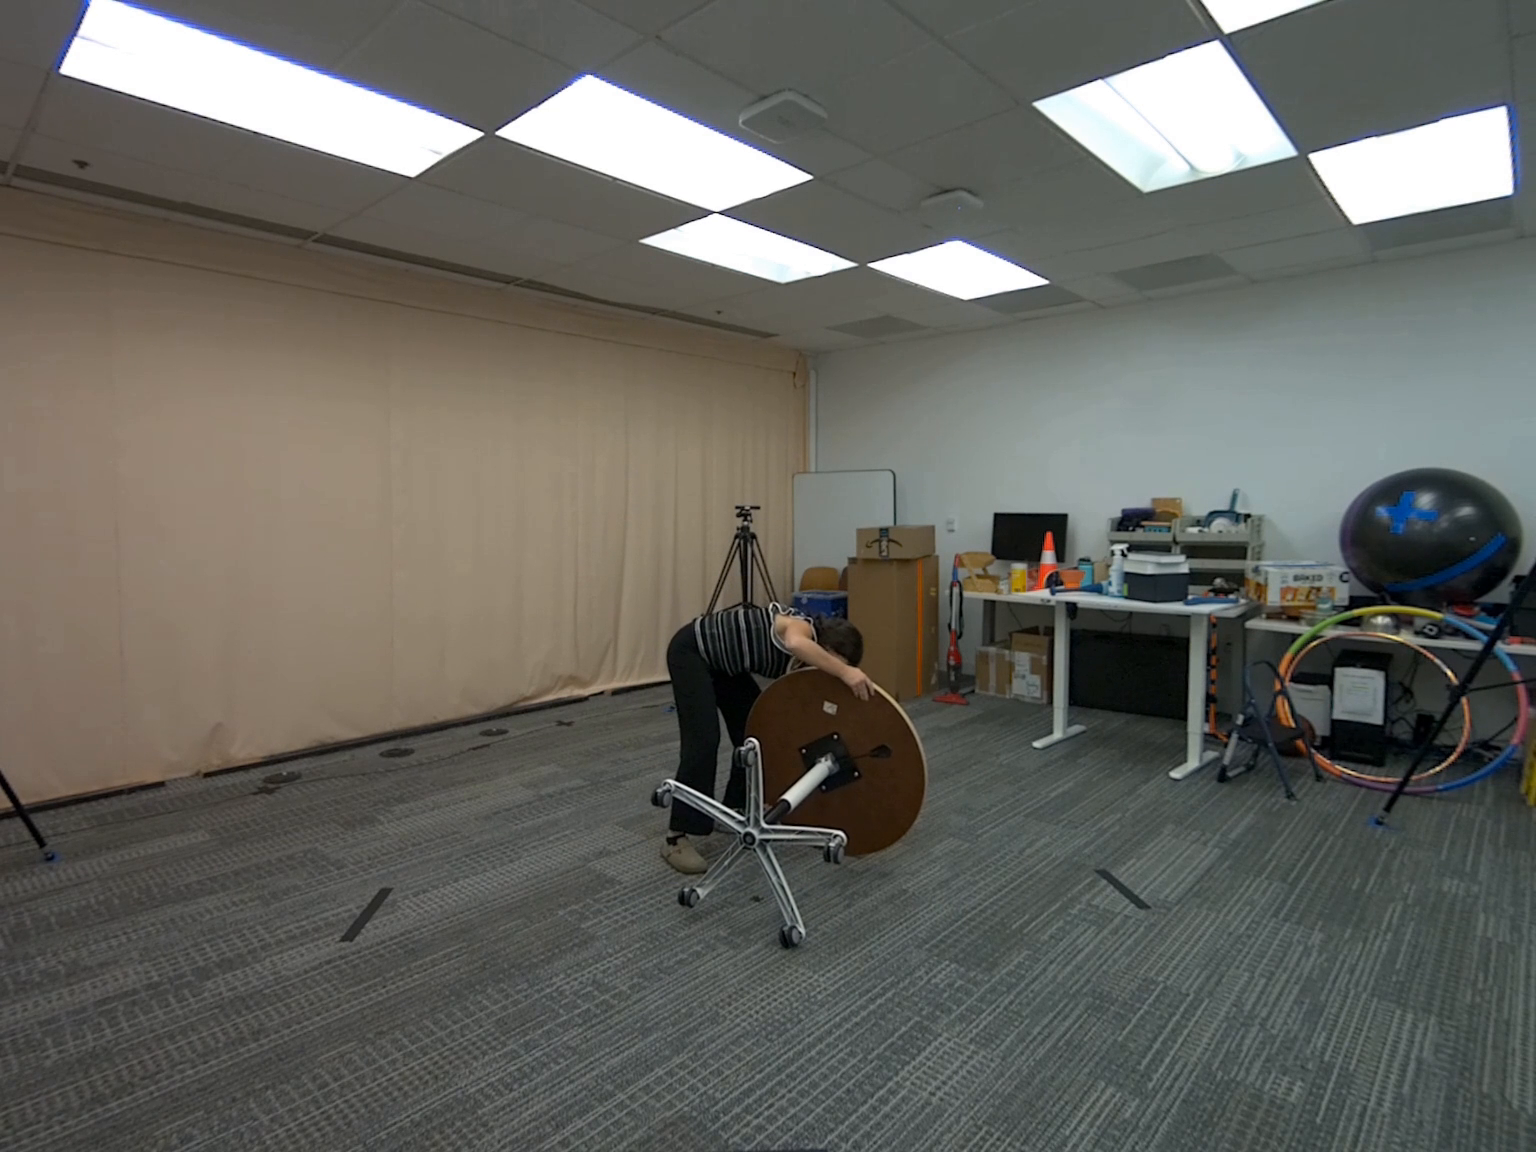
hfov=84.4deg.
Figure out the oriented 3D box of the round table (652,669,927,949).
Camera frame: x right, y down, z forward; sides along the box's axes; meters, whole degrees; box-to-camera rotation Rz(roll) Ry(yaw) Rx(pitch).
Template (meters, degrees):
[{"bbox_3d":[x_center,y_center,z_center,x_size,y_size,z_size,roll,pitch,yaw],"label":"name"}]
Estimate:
[{"bbox_3d":[0.081,0.808,3.009,0.786,0.759,0.776,2,11,29],"label":"round table"}]
